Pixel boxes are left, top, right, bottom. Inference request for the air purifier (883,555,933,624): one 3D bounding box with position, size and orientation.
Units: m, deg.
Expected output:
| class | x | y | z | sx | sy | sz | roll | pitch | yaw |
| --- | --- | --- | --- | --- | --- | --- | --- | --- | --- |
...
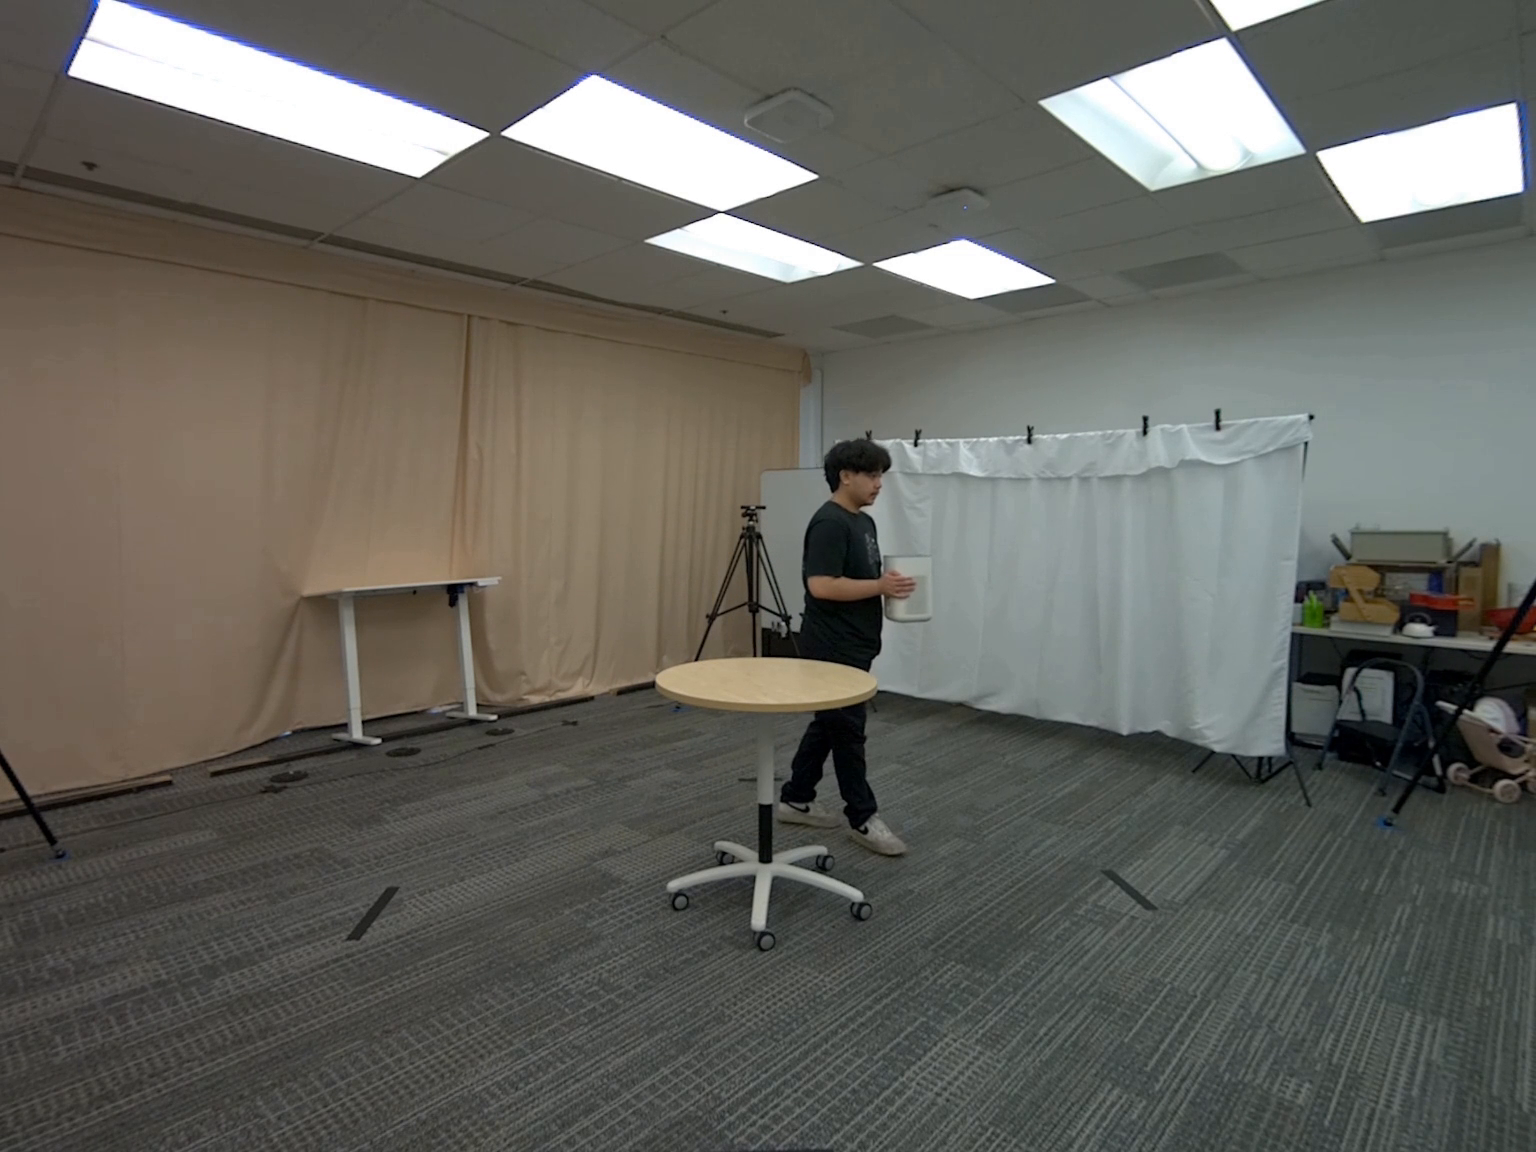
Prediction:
| class | x | y | z | sx | sy | sz | roll | pitch | yaw |
| --- | --- | --- | --- | --- | --- | --- | --- | --- | --- |
| air purifier | 0.566 | 0.050 | 3.393 | 0.170 | 0.265 | 0.173 | -1 | 1 | -10 |
